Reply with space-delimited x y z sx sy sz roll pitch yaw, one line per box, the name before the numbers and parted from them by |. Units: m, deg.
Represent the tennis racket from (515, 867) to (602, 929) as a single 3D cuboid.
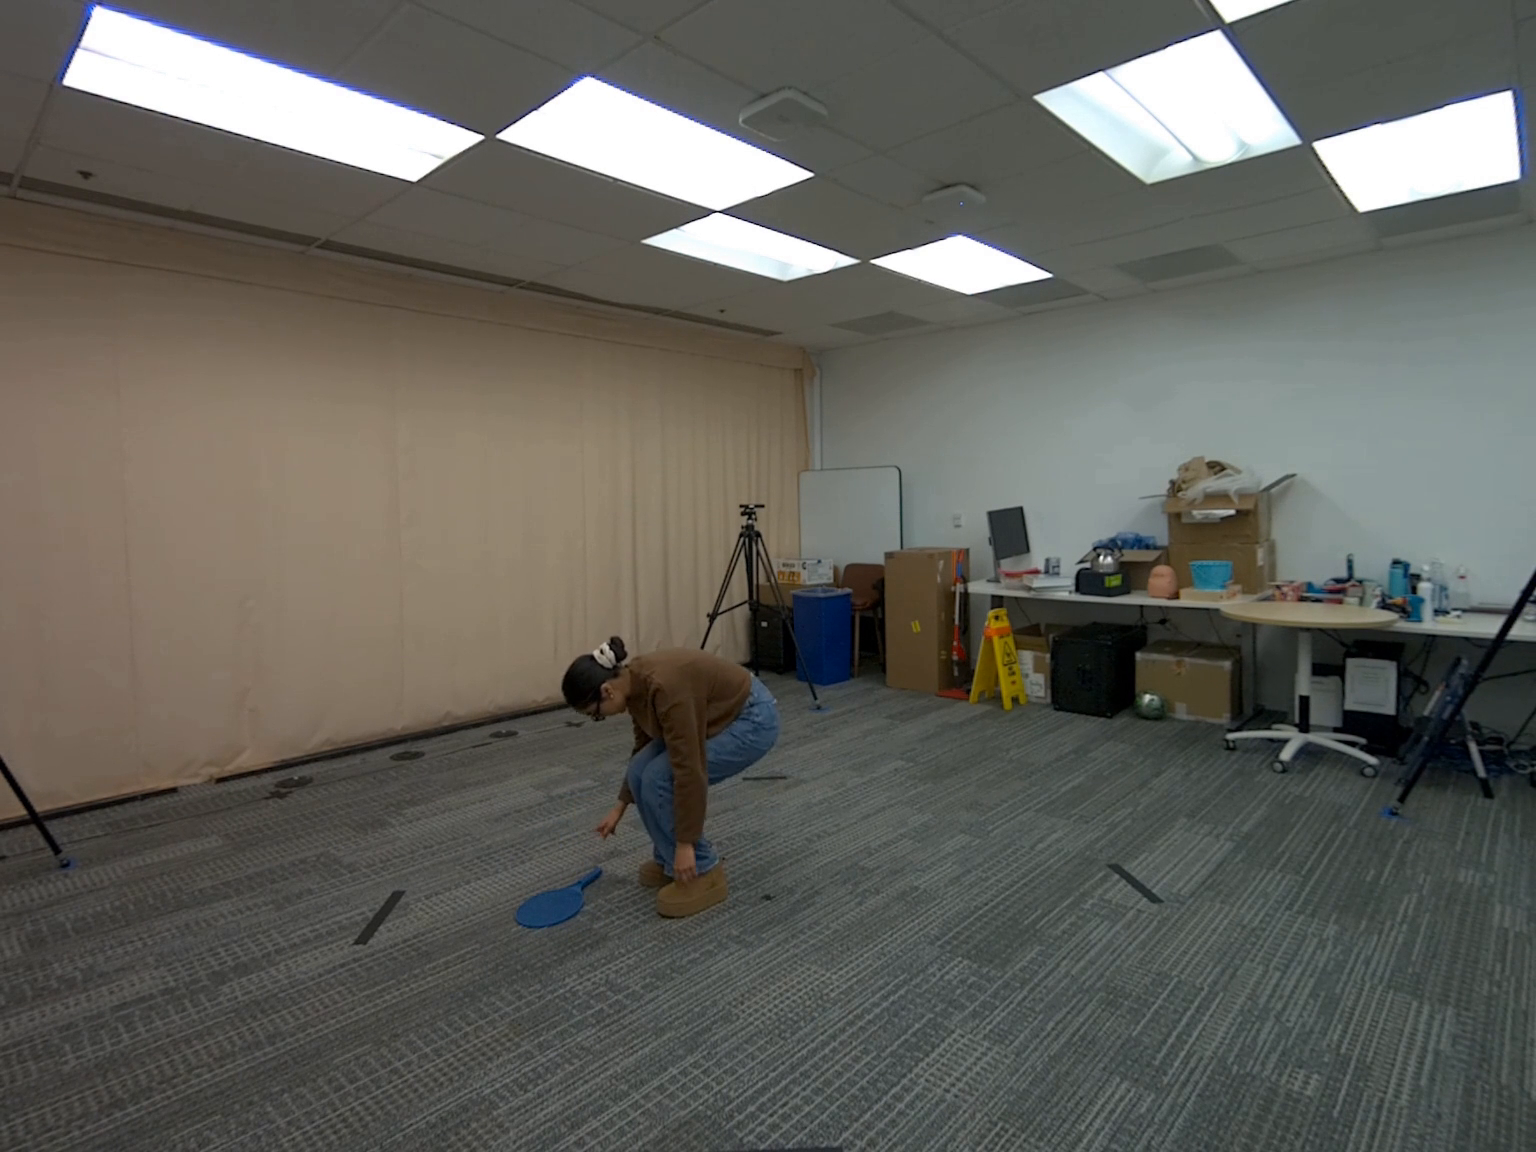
tennis racket | -0.724 1.144 3.005 0.219 0.031 0.424 0 6 22
